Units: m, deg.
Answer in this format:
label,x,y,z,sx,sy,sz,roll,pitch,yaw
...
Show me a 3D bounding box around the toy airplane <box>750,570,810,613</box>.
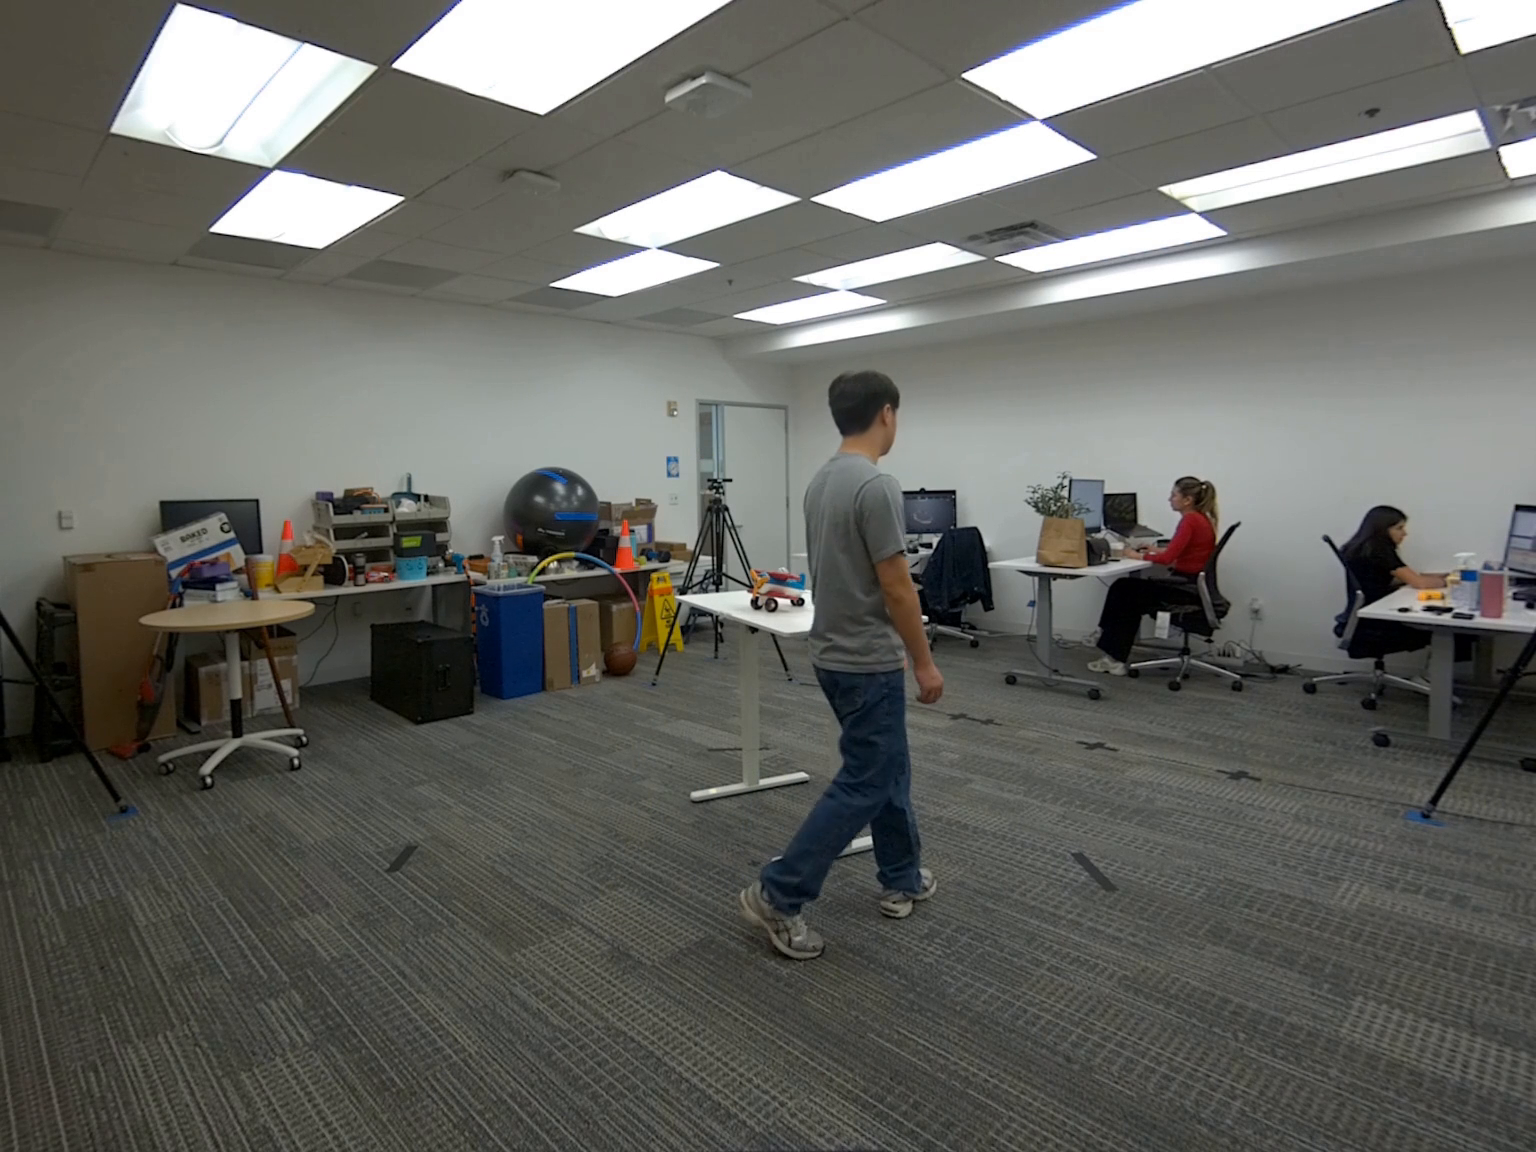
label,x,y,z,sx,sy,sz,roll,pitch,yaw
toy airplane,0.041,0.050,3.396,0.257,0.155,0.255,3,8,22
